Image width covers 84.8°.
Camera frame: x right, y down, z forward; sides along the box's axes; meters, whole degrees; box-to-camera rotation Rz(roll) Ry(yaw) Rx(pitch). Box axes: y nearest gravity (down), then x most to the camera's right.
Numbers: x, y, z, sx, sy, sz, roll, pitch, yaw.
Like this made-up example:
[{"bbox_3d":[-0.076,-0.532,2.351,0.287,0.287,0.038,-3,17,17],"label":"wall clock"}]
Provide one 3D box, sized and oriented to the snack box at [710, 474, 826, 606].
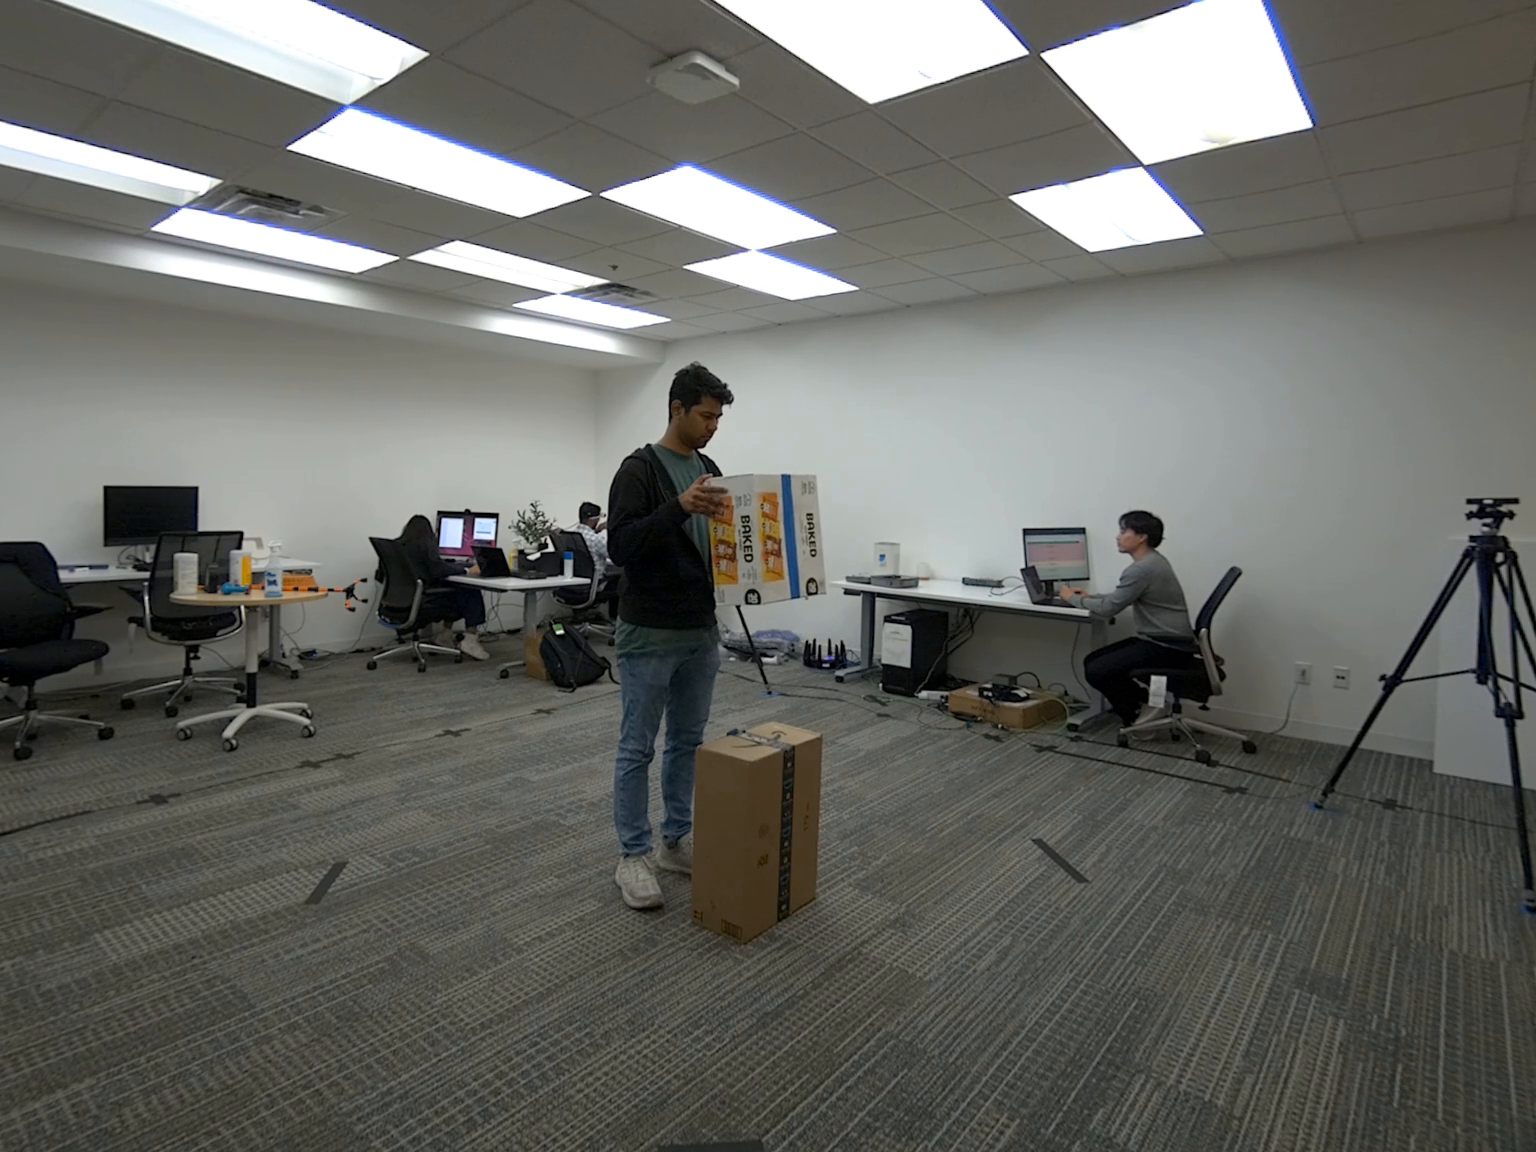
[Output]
[{"bbox_3d":[-0.013,-0.105,2.778,0.212,0.405,0.330,-3,1,40],"label":"snack box"}]
